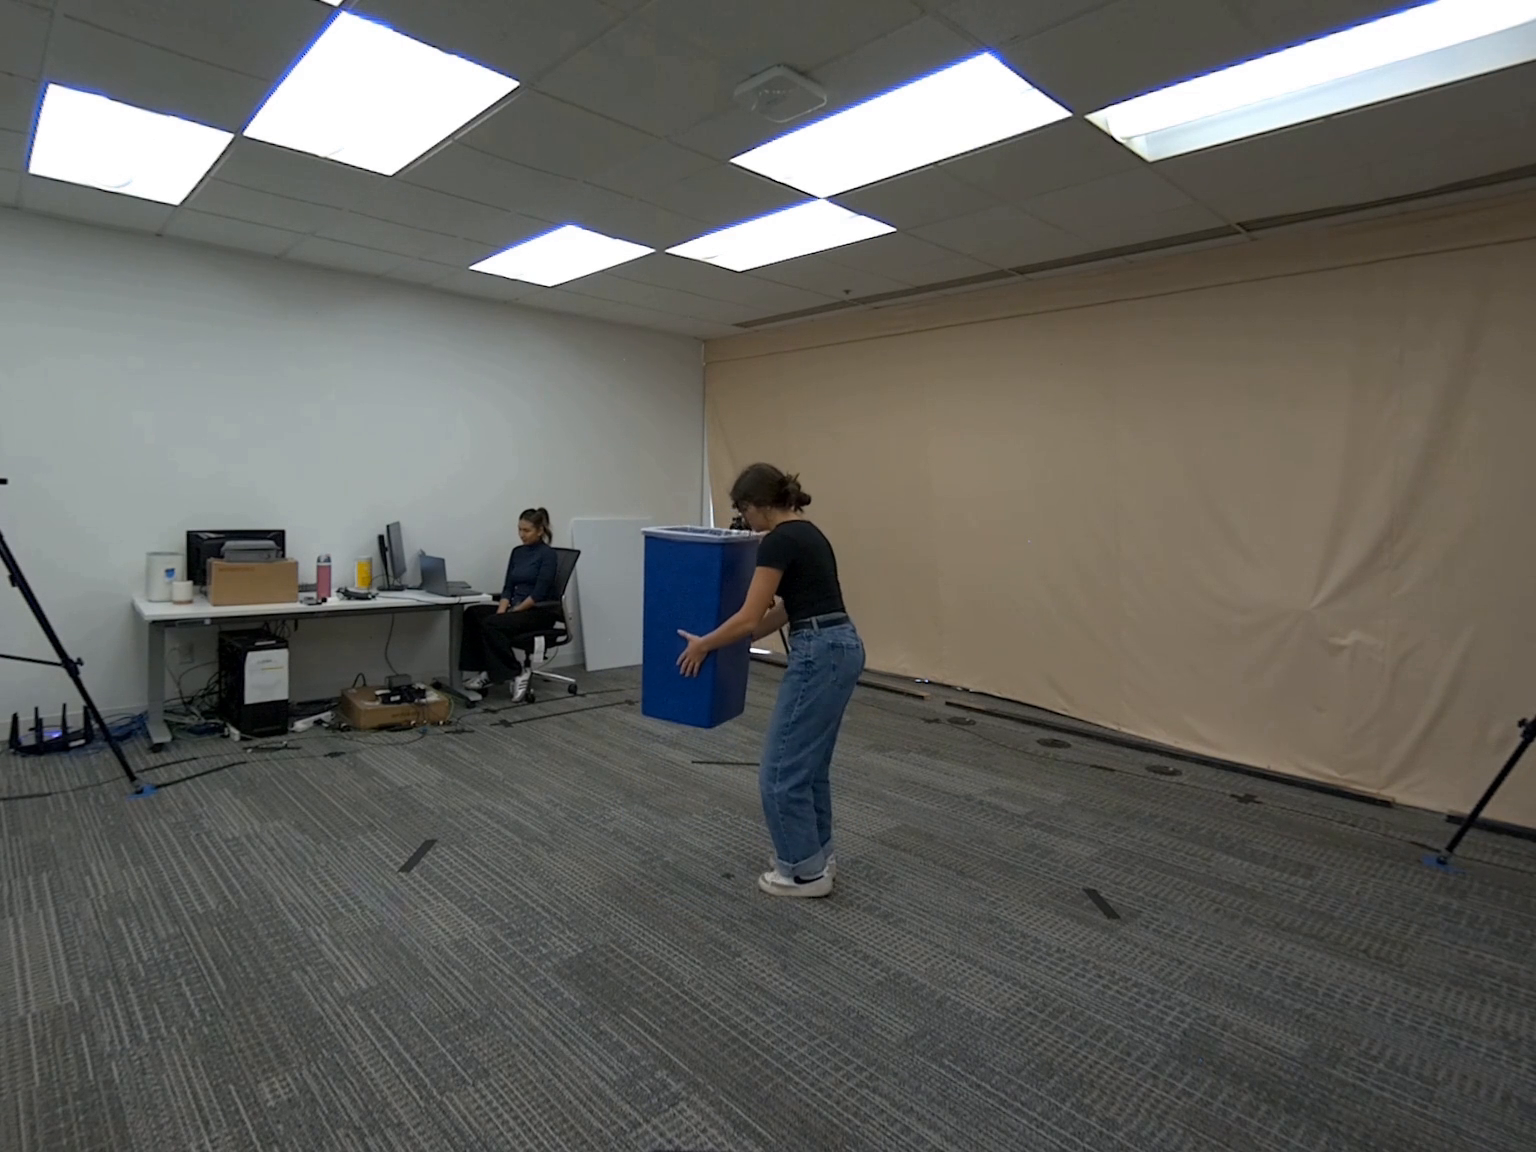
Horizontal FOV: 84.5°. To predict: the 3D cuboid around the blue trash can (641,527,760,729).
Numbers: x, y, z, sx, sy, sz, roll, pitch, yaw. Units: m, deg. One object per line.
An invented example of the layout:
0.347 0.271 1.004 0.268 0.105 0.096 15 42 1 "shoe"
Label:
-0.272 0.187 3.231 0.386 0.711 0.367 6 5 25 "blue trash can"
